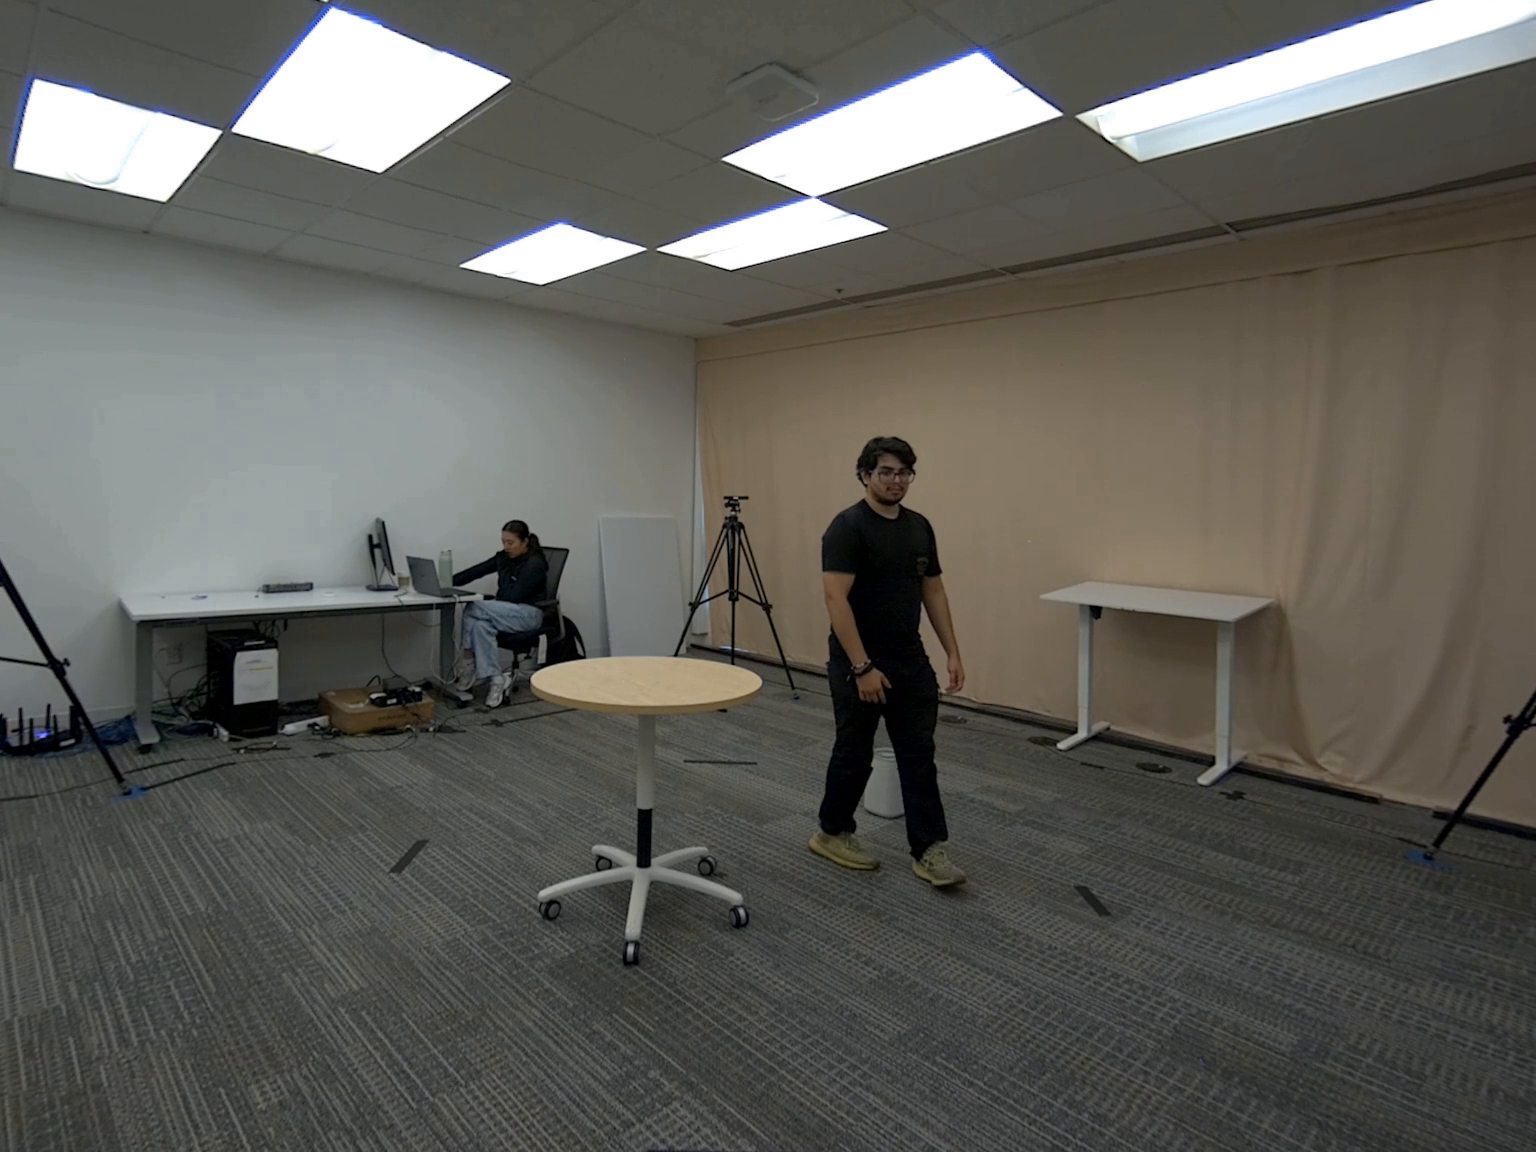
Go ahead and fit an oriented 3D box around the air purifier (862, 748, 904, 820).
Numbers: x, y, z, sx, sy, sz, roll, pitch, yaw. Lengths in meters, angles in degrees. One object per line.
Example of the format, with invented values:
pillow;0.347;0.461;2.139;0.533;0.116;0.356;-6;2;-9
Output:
air purifier;0.527;0.926;3.786;0.167;0.265;0.175;2;3;-39
